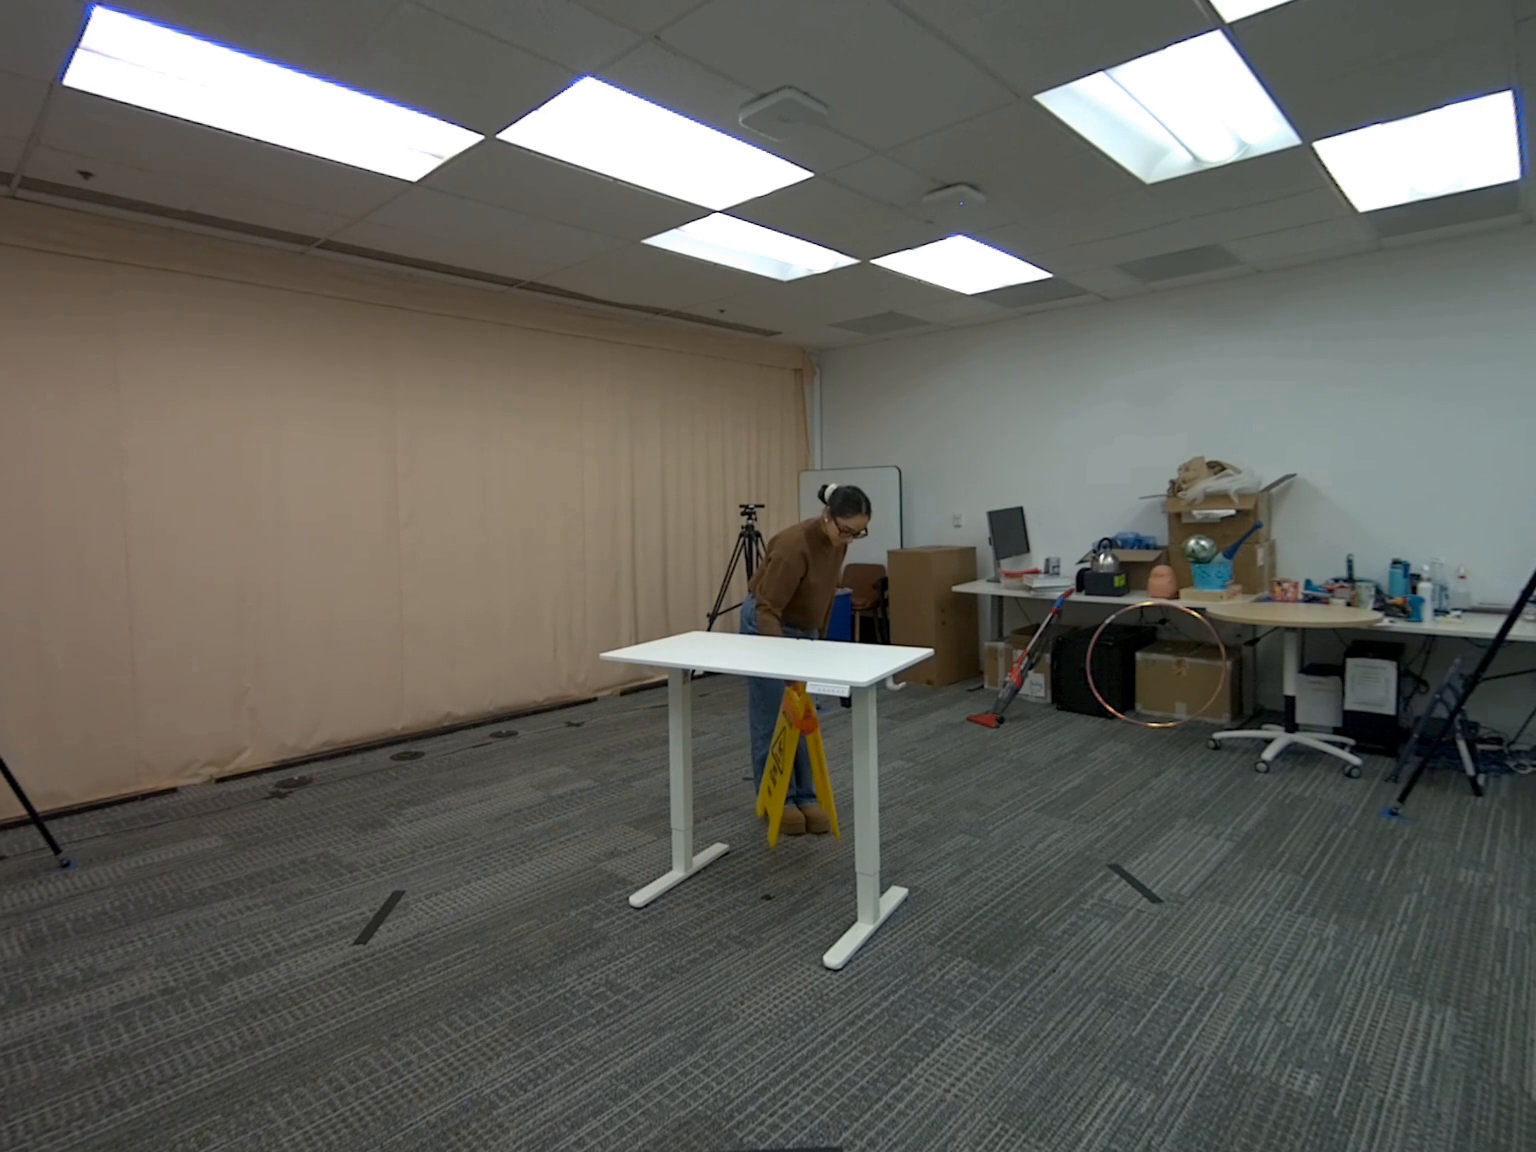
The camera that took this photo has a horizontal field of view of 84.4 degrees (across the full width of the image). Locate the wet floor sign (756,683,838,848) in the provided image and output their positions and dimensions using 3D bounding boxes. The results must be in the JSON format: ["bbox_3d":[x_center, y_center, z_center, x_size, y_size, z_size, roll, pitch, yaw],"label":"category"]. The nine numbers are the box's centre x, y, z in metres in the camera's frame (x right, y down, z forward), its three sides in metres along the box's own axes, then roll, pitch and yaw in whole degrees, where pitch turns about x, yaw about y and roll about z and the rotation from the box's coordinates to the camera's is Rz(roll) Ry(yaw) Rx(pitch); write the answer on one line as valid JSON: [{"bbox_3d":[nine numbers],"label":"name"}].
[{"bbox_3d":[0.118,0.676,3.238,0.287,0.640,0.288,-3,16,-11],"label":"wet floor sign"}]
